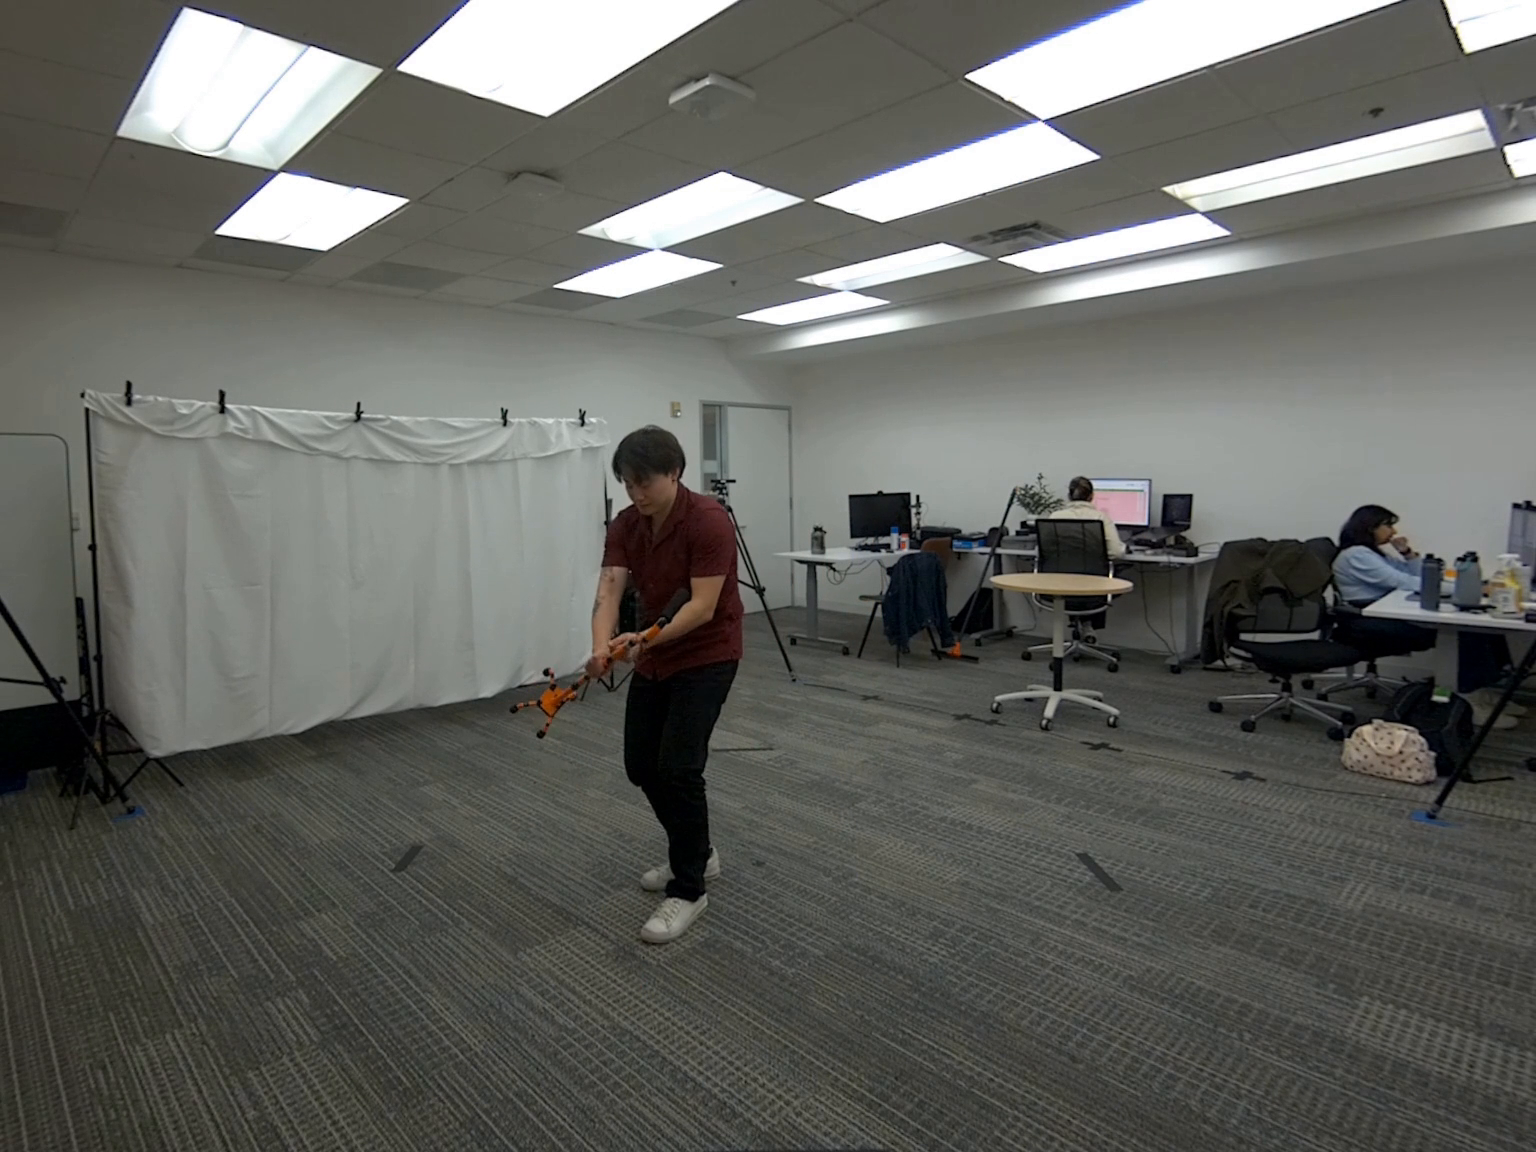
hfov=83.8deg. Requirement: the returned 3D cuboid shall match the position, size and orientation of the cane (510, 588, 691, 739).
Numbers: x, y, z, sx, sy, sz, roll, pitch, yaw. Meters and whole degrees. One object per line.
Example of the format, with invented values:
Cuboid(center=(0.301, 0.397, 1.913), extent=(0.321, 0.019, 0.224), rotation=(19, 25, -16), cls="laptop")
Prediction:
Cuboid(center=(-0.511, 0.271, 2.552), extent=(0.914, 0.150, 0.207), rotation=(-34, 16, 50), cls="cane")
